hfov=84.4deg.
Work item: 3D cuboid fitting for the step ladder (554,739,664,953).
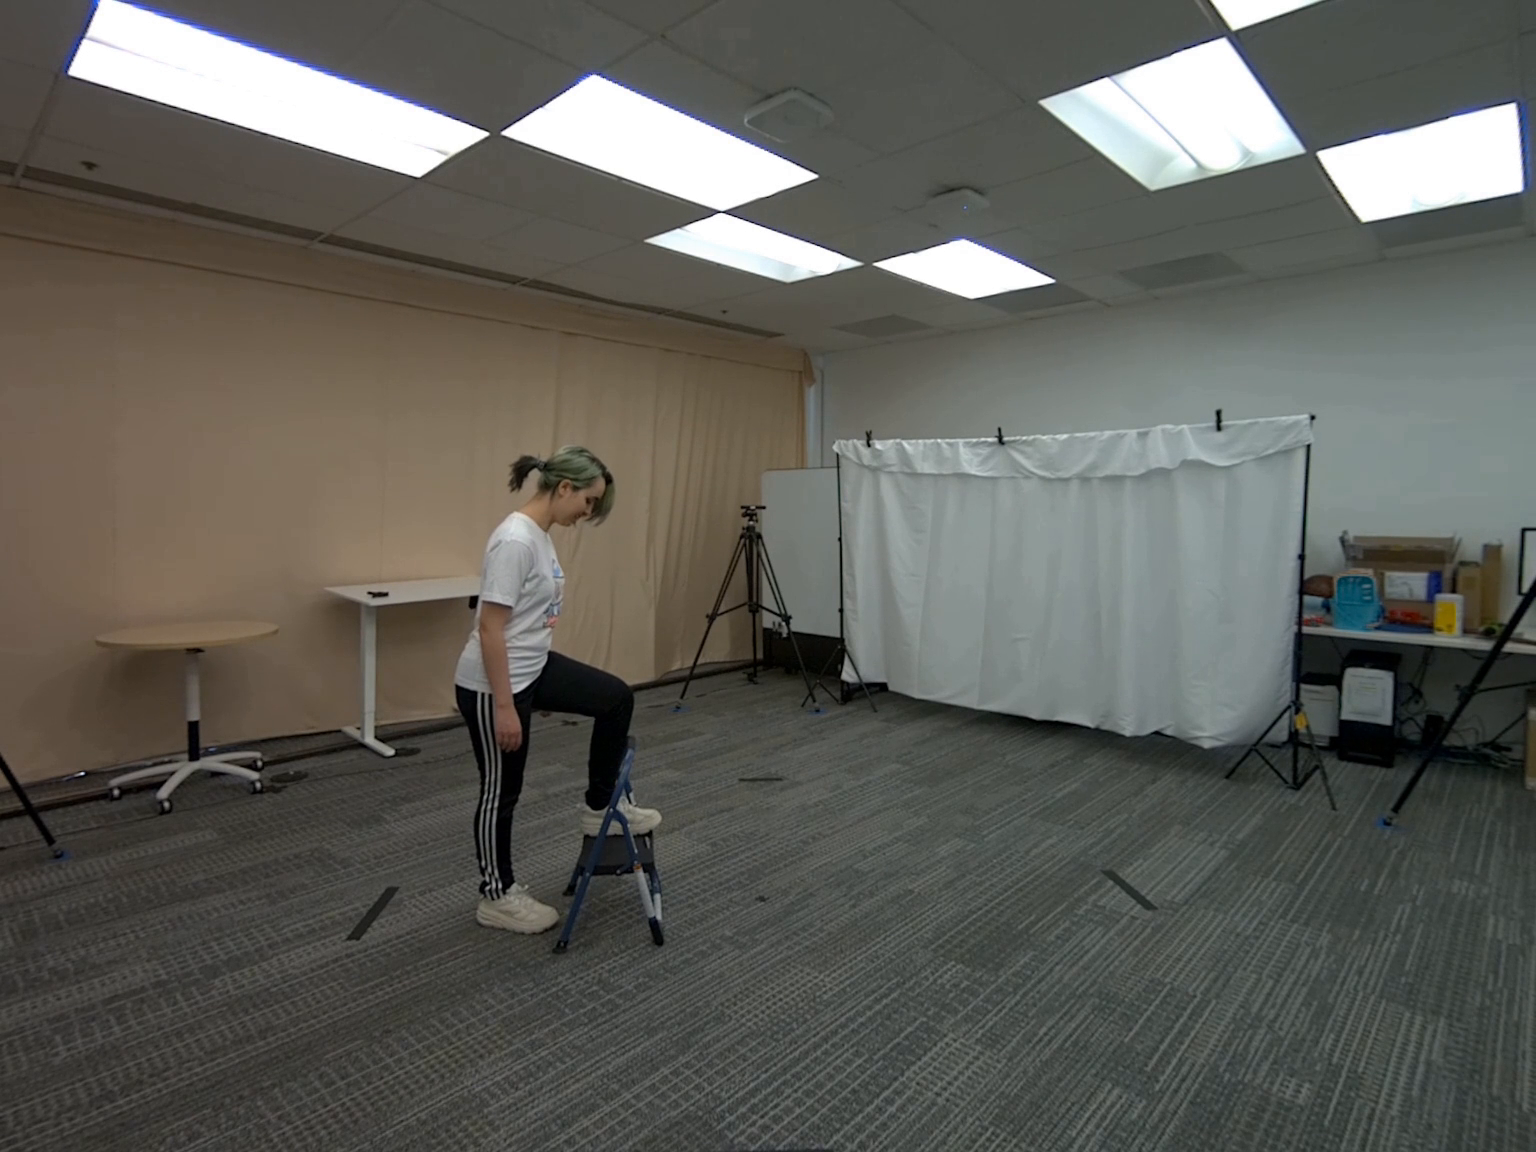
[{"bbox_3d":[-0.533,0.866,2.832,0.346,0.604,0.435,-1,4,-8],"label":"step ladder"}]
